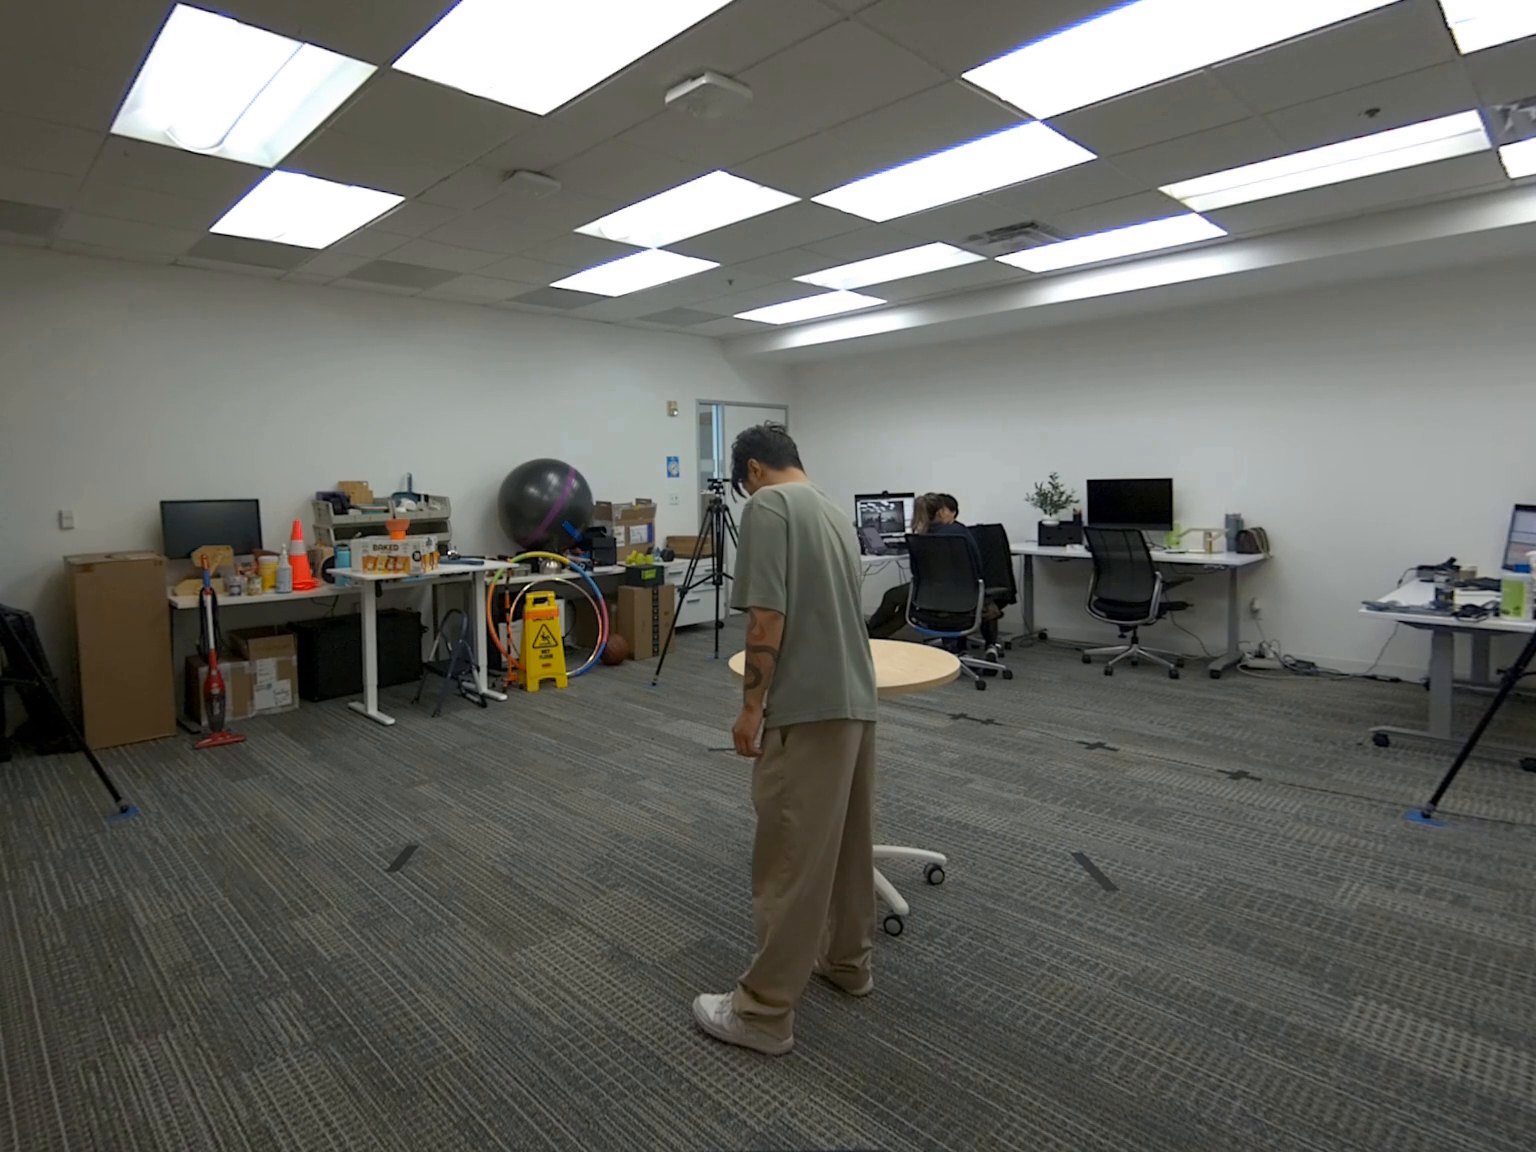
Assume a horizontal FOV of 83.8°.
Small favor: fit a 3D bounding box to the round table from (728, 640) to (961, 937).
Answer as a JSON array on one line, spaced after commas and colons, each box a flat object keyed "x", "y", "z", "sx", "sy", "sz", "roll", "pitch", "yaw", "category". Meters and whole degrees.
[{"x": 0.272, "y": 0.677, "z": 2.896, "sx": 0.763, "sy": 0.791, "sz": 0.768, "roll": -1, "pitch": 5, "yaw": -2, "category": "round table"}]
